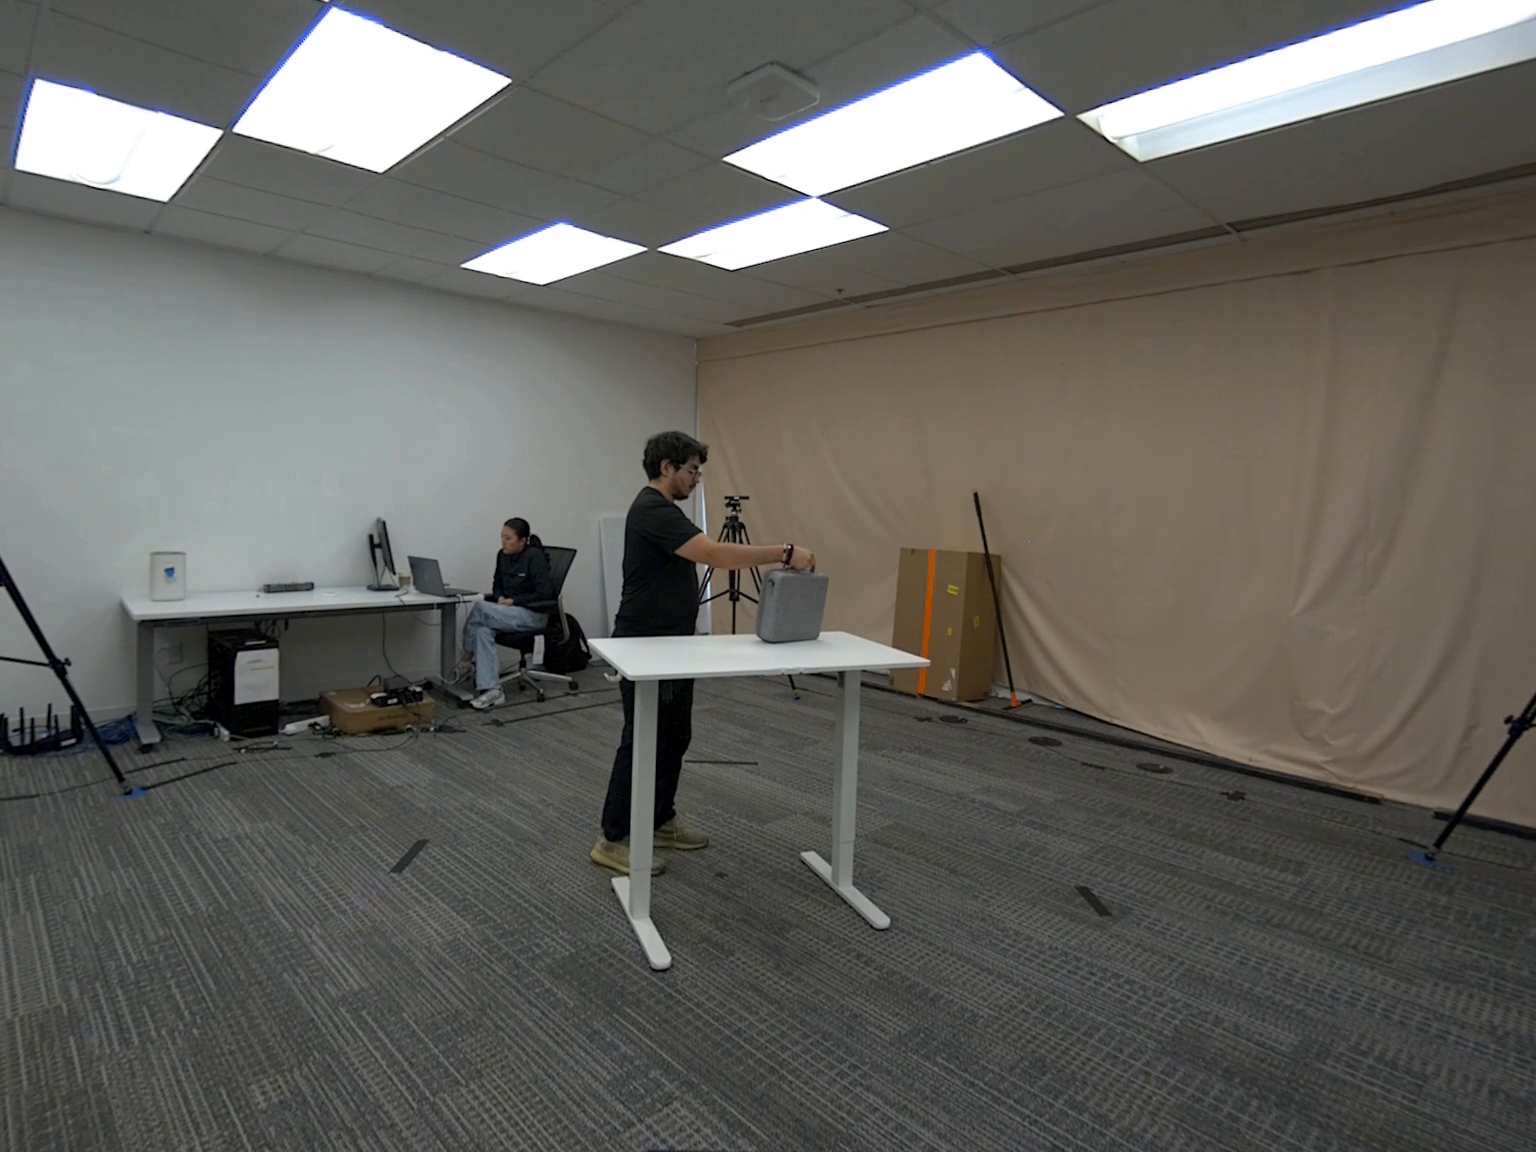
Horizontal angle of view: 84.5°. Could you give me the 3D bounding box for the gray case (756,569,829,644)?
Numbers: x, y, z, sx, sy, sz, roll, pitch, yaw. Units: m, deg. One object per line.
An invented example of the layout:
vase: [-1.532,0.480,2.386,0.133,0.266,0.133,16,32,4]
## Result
gray case: [0.076,0.100,3.024,0.251,0.259,0.107,1,10,-40]
